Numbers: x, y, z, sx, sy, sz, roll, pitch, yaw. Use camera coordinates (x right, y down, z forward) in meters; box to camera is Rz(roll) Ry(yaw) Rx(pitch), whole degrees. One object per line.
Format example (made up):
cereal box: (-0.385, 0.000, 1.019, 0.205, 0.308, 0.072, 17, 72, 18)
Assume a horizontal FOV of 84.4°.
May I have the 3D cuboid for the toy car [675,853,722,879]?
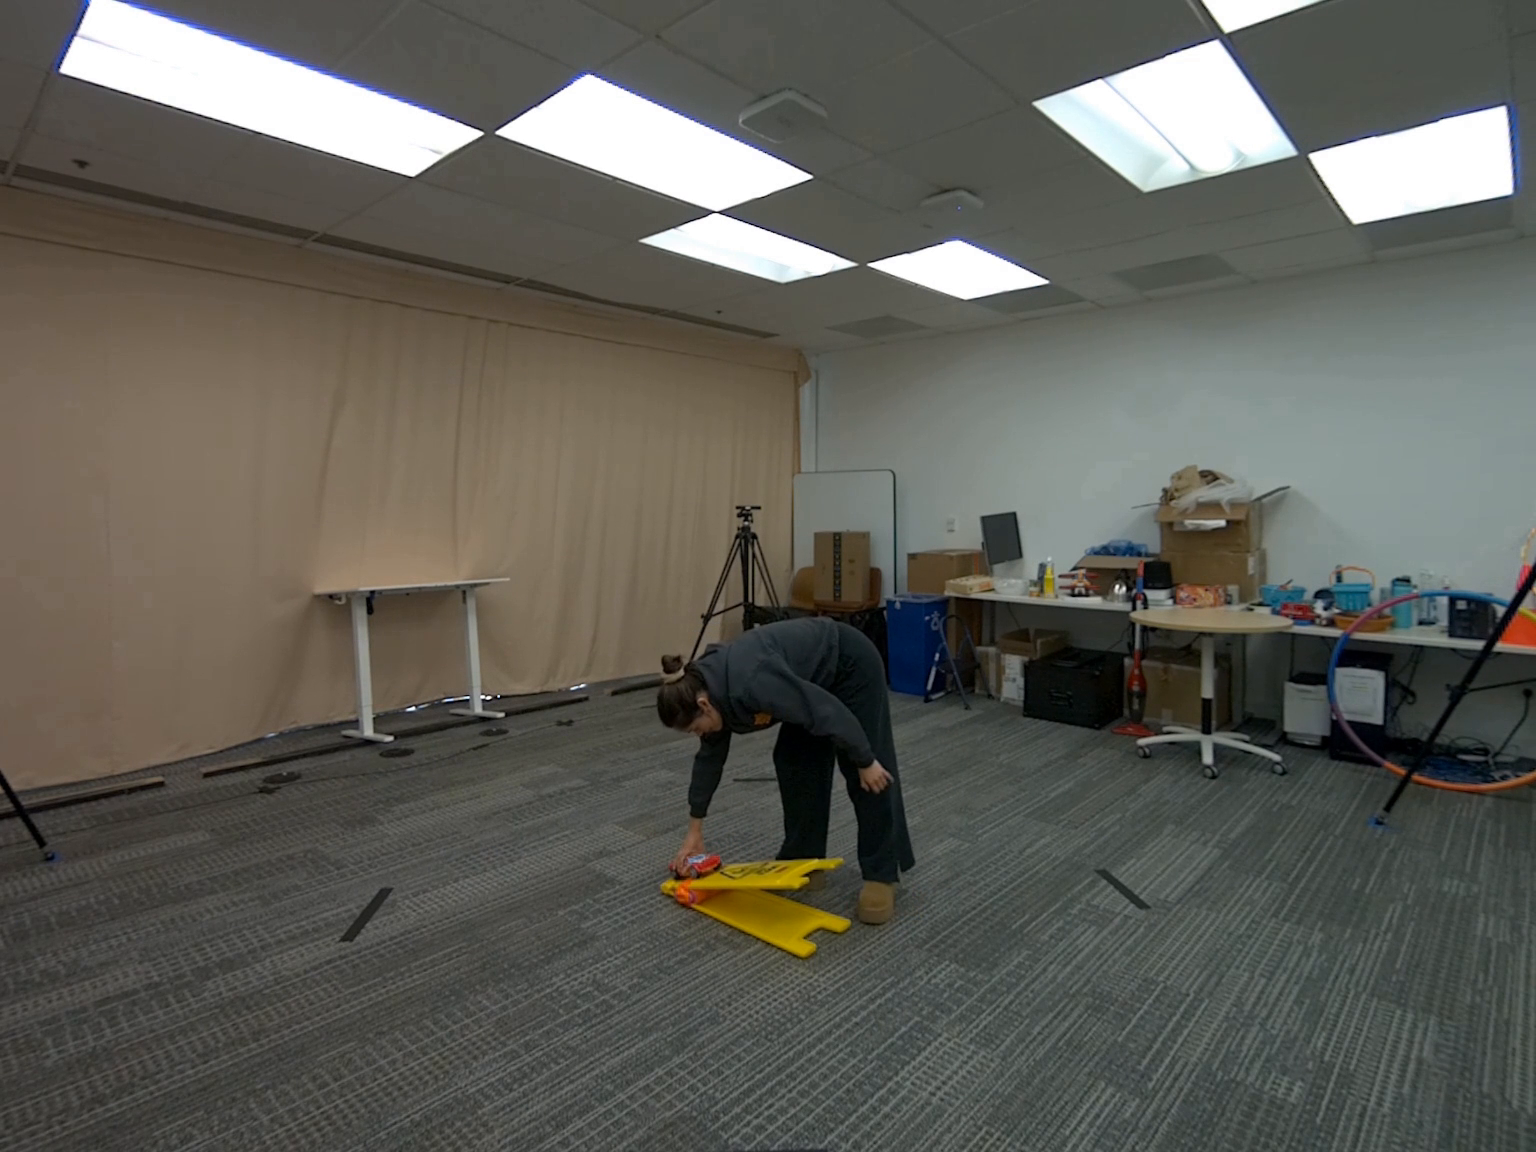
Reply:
toy car: (-0.250, 1.056, 3.069, 0.127, 0.083, 0.260, -13, -1, -34)
